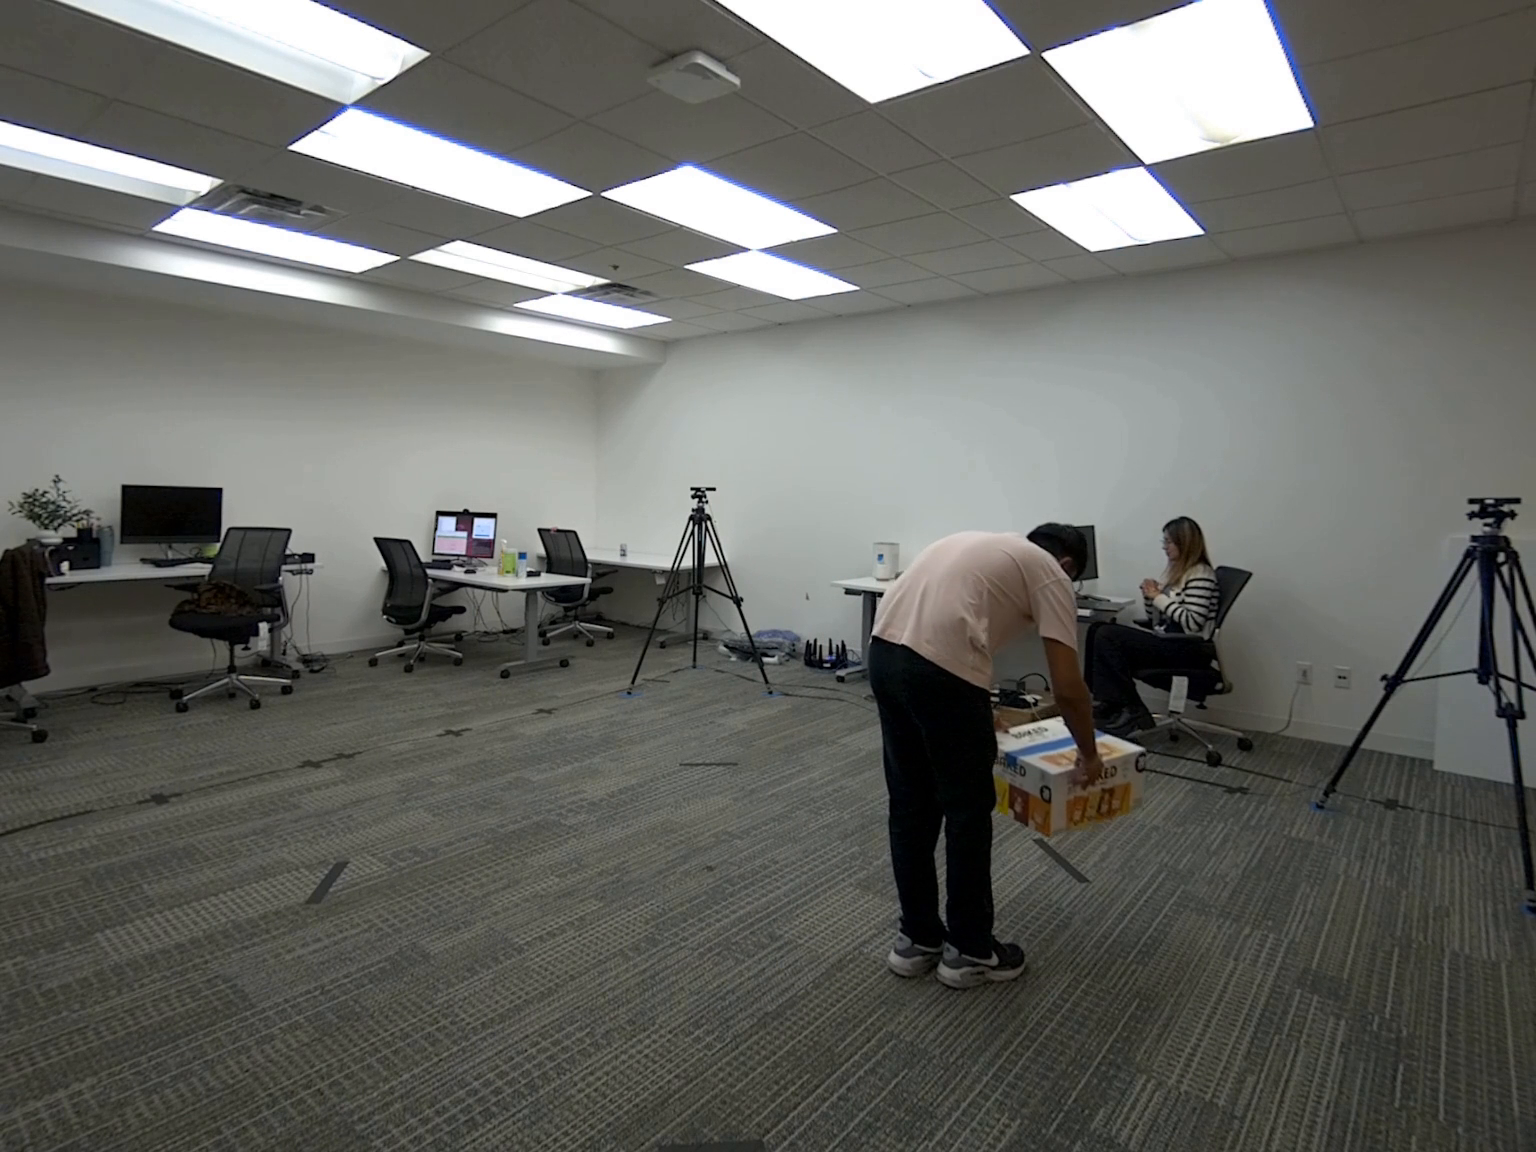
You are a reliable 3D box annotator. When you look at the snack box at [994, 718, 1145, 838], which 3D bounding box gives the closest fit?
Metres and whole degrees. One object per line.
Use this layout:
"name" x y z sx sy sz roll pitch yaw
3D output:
"snack box" 0.919 0.622 2.731 0.396 0.204 0.351 -7 11 -27
